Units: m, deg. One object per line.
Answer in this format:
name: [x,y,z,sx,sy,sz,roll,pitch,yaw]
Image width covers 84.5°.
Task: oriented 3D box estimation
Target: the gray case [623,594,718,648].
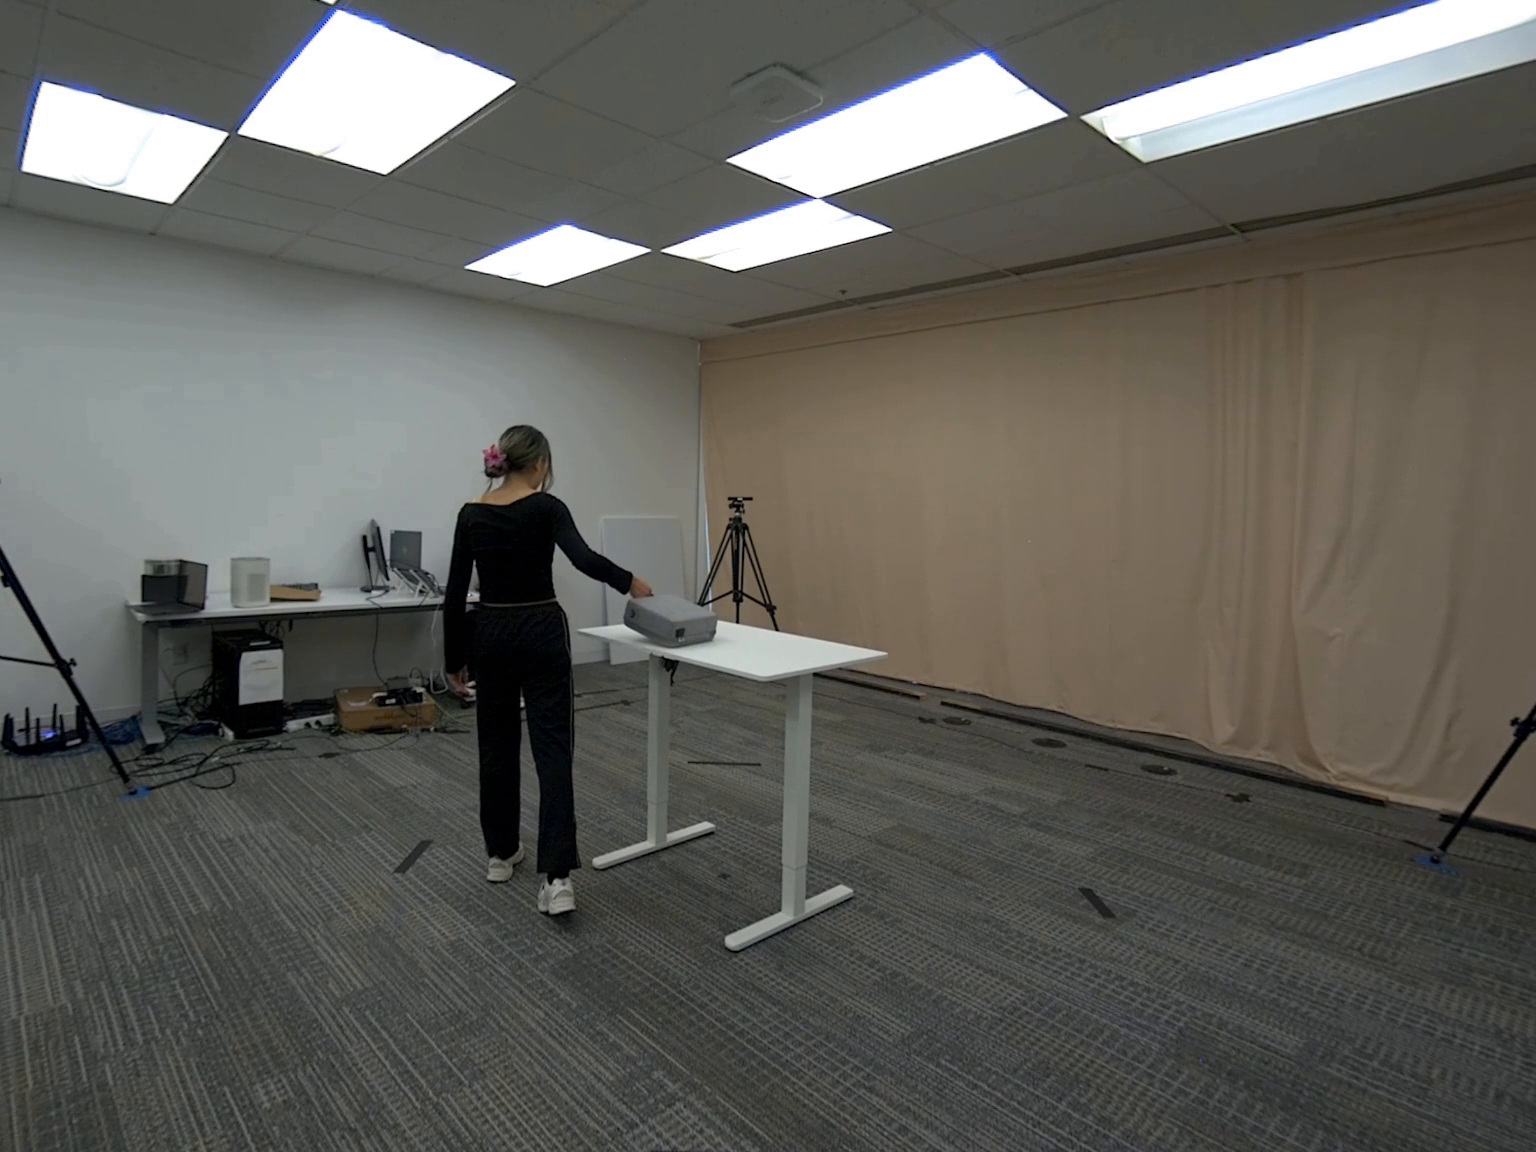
gray case: [-0.347,0.154,2.977,0.268,0.103,0.251,20,16,34]
